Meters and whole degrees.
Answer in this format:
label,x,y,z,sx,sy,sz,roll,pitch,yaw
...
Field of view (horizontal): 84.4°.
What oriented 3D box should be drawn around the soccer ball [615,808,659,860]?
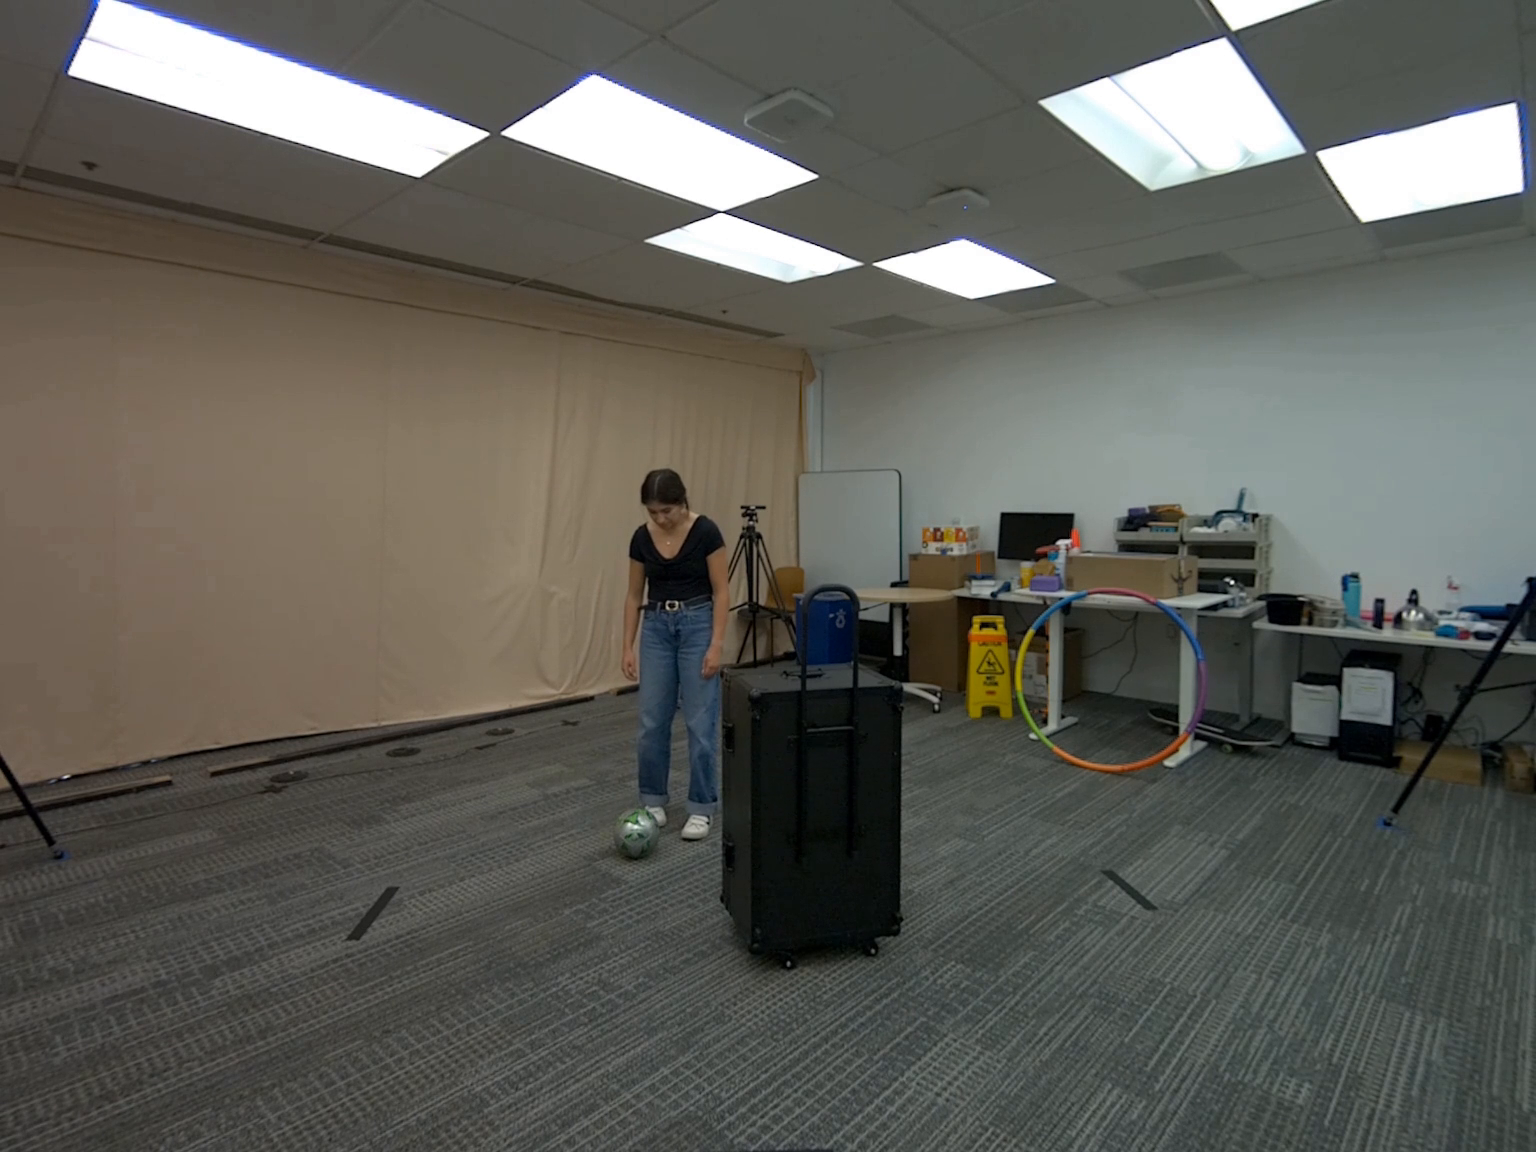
label,x,y,z,sx,sy,sz,roll,pitch,yaw
soccer ball,-0.522,1.026,3.353,0.187,0.187,0.188,0,4,-2
